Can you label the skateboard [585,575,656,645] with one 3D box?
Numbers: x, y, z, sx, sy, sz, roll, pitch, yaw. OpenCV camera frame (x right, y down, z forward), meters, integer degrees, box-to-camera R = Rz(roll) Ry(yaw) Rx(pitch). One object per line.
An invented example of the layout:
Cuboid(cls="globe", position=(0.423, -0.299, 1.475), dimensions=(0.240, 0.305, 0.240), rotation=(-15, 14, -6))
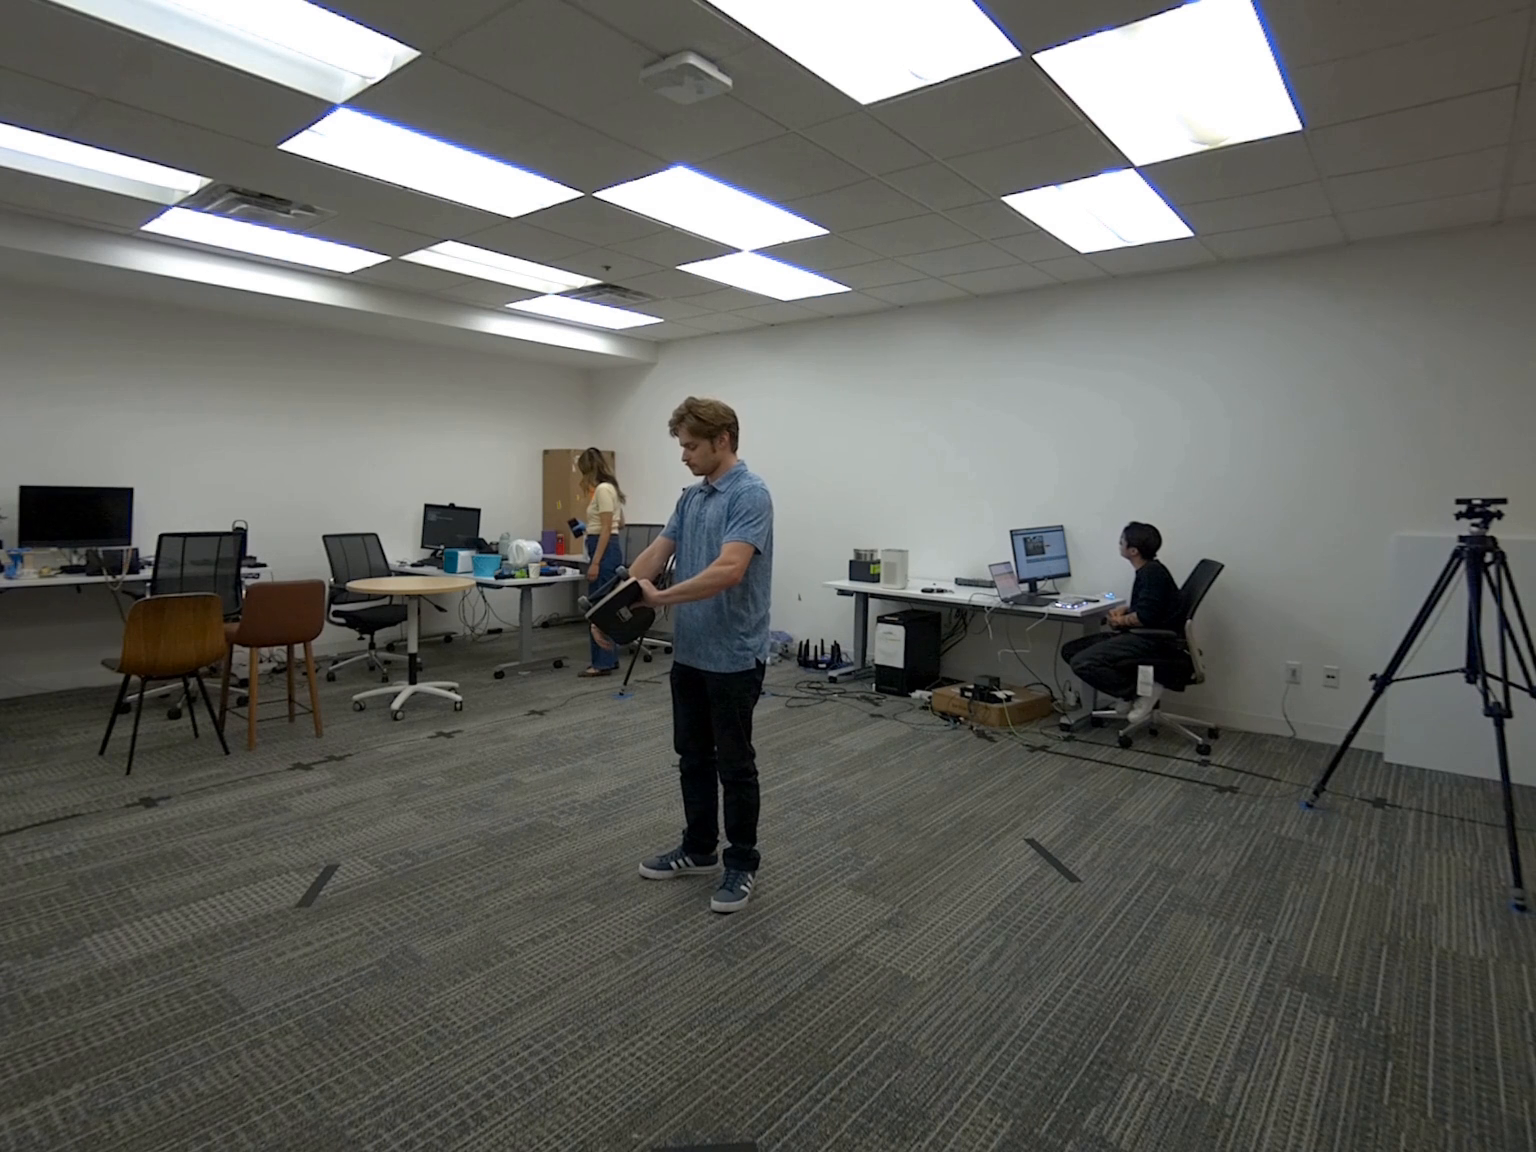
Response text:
Cuboid(cls="skateboard", position=(-0.518, 0.107, 2.871), dimensions=(0.193, 0.112, 0.774), rotation=(-40, -9, -8))
